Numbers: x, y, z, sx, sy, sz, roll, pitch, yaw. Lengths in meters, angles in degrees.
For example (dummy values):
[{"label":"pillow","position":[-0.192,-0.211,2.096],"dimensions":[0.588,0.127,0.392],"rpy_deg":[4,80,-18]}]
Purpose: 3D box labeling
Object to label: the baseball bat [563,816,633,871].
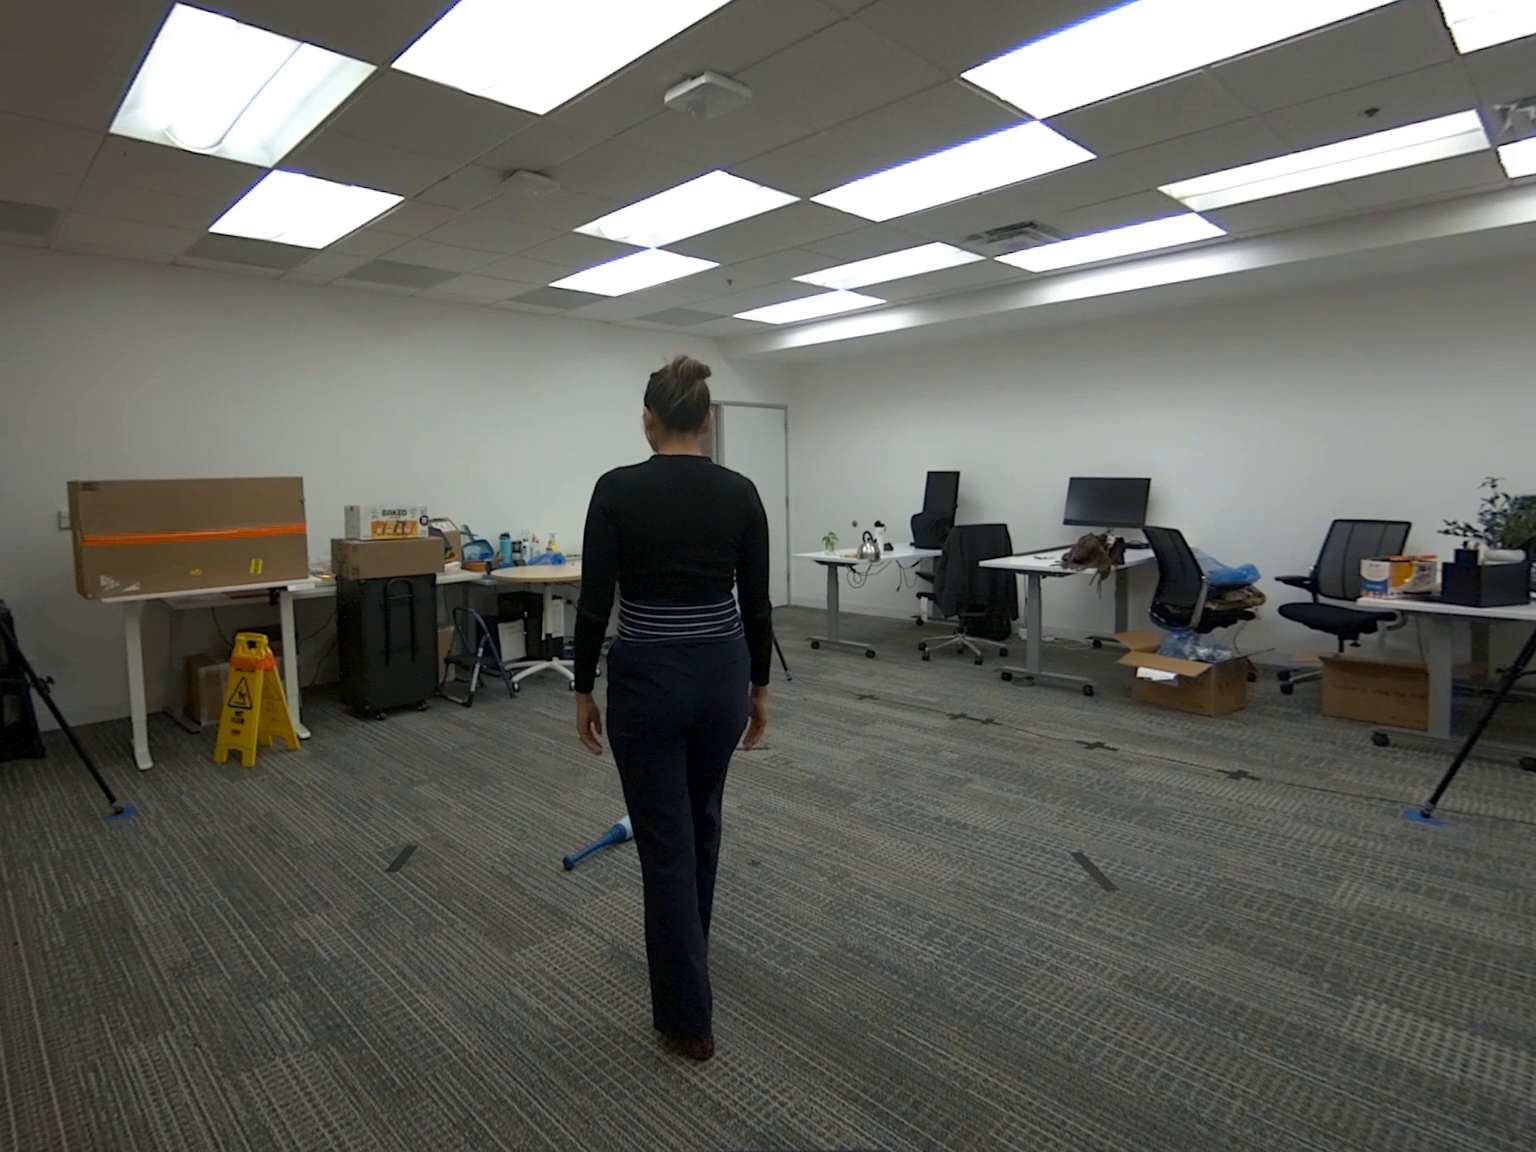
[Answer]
[{"label":"baseball bat","position":[-0.584,0.998,3.296],"dimensions":[0.091,0.088,0.532],"rpy_deg":[2,10,31]}]
